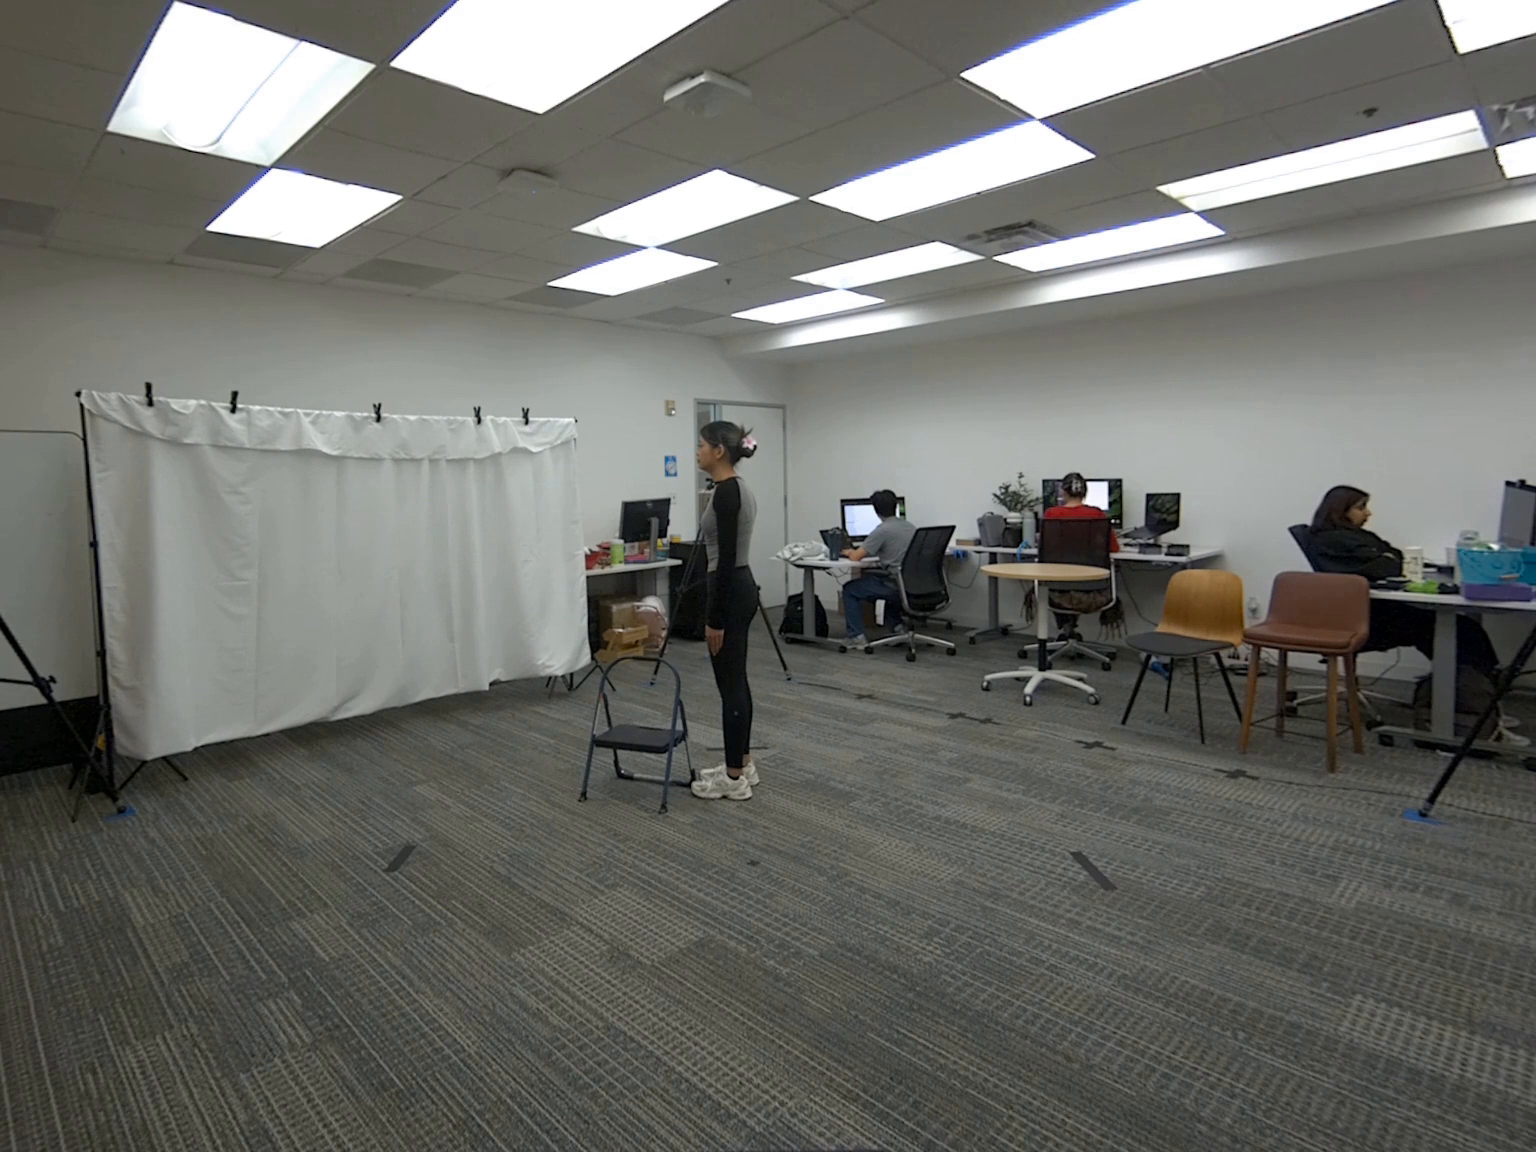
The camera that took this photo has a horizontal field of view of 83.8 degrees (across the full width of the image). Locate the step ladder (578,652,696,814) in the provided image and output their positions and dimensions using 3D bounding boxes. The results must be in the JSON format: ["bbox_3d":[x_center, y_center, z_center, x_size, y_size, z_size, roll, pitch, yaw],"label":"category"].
[{"bbox_3d":[-0.578,0.674,3.804,0.440,0.604,0.343,2,5,22],"label":"step ladder"}]
